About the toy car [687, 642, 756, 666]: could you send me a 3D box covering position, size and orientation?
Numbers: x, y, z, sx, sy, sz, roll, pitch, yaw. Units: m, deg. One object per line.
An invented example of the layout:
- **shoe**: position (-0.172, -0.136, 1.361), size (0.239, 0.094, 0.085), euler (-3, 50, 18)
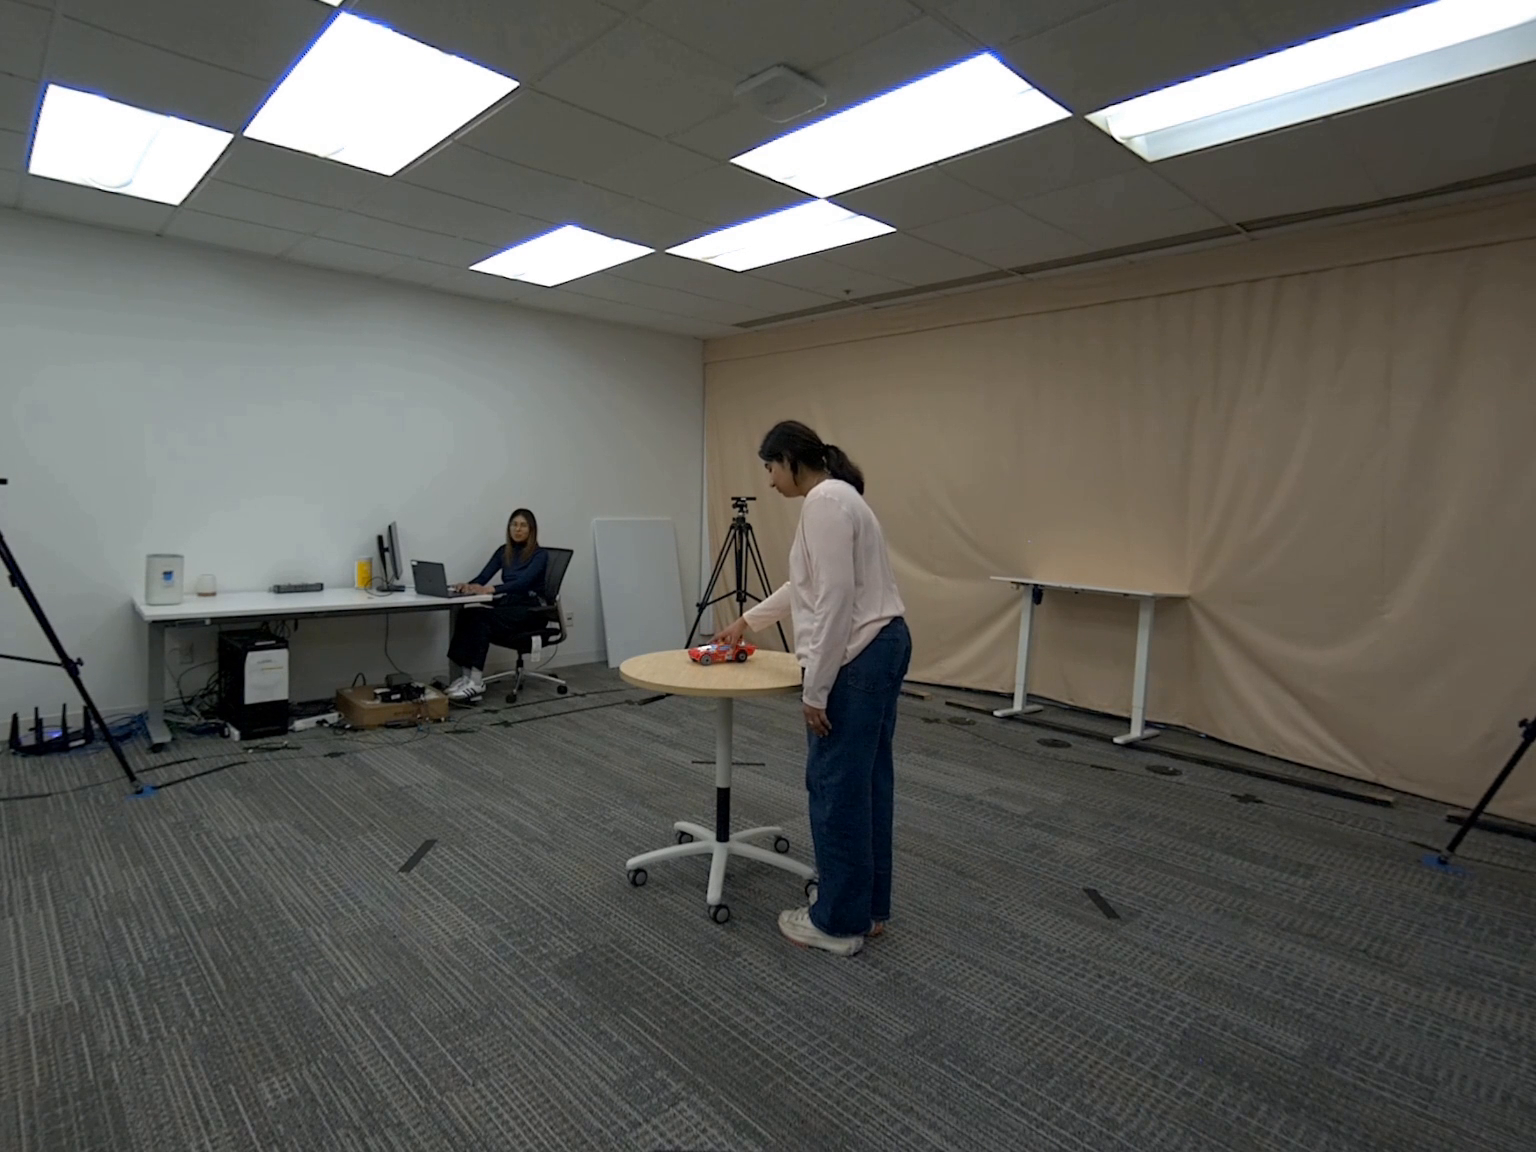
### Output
- **toy car**: position (-0.175, 0.288, 3.141), size (0.251, 0.082, 0.133), euler (-13, 10, -25)
